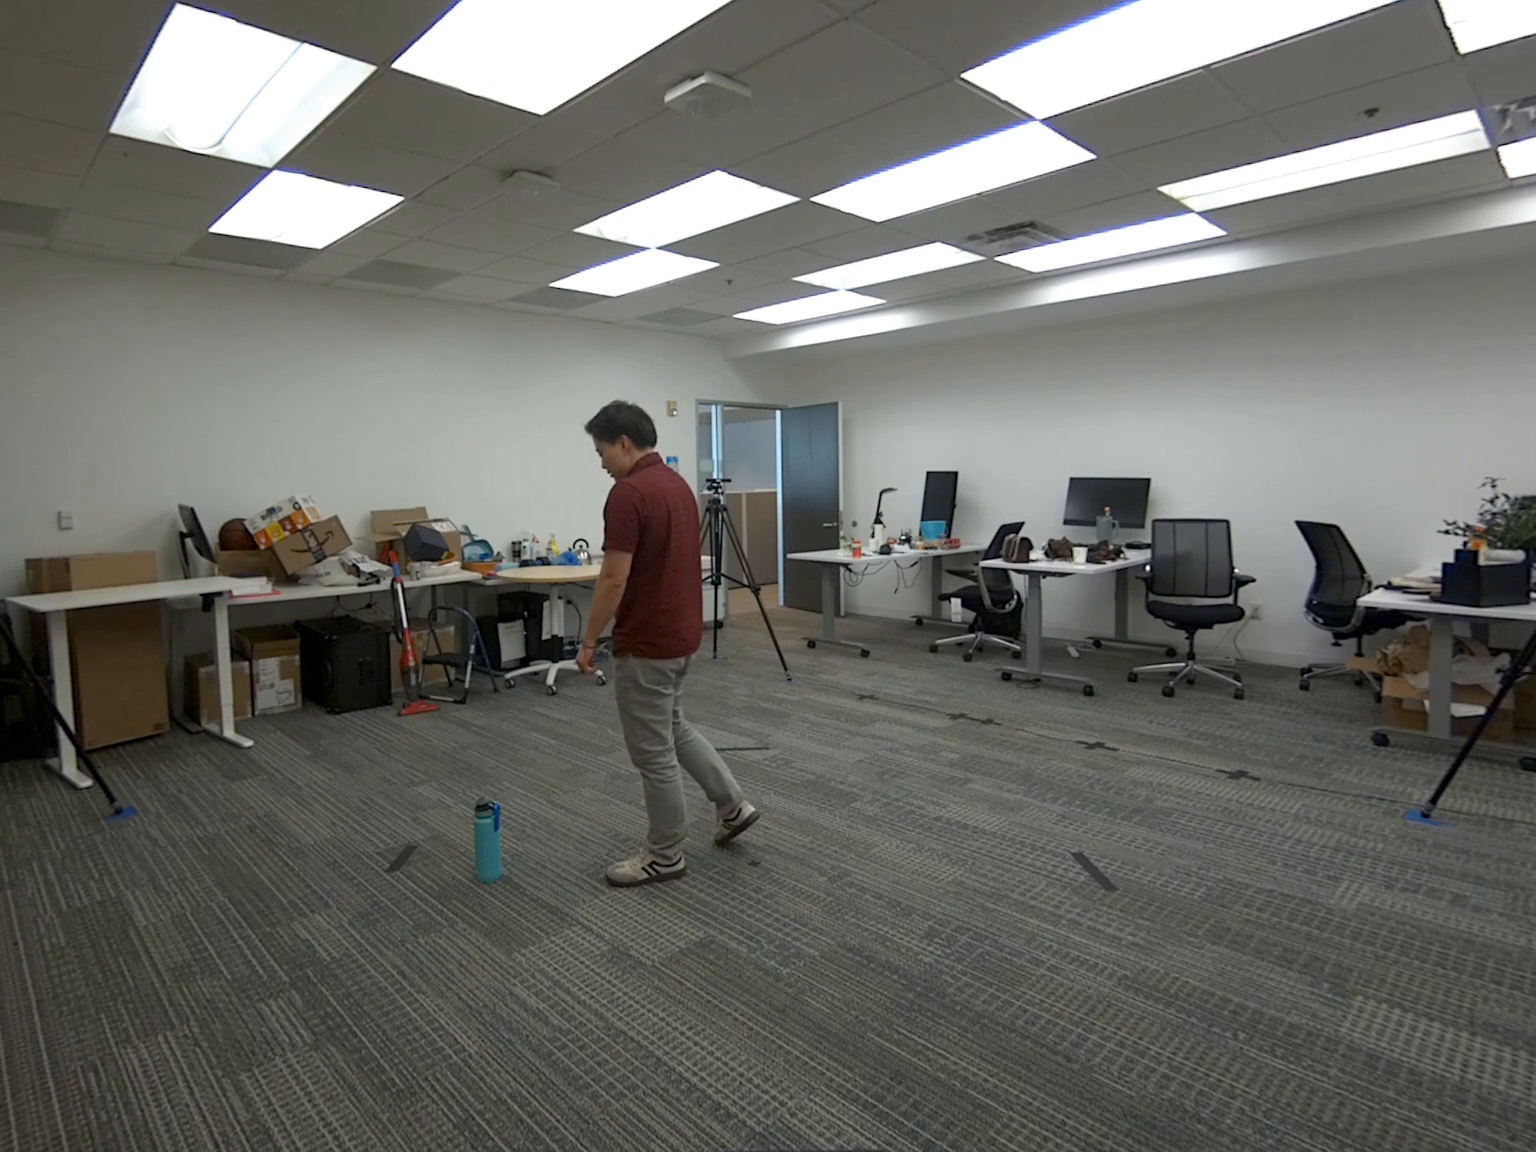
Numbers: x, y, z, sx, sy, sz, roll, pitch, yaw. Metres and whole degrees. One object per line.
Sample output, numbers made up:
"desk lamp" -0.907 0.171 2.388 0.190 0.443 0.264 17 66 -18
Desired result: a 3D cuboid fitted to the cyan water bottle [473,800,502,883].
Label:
"cyan water bottle" -0.991 0.931 3.032 0.092 0.282 0.093 -1 4 -2
